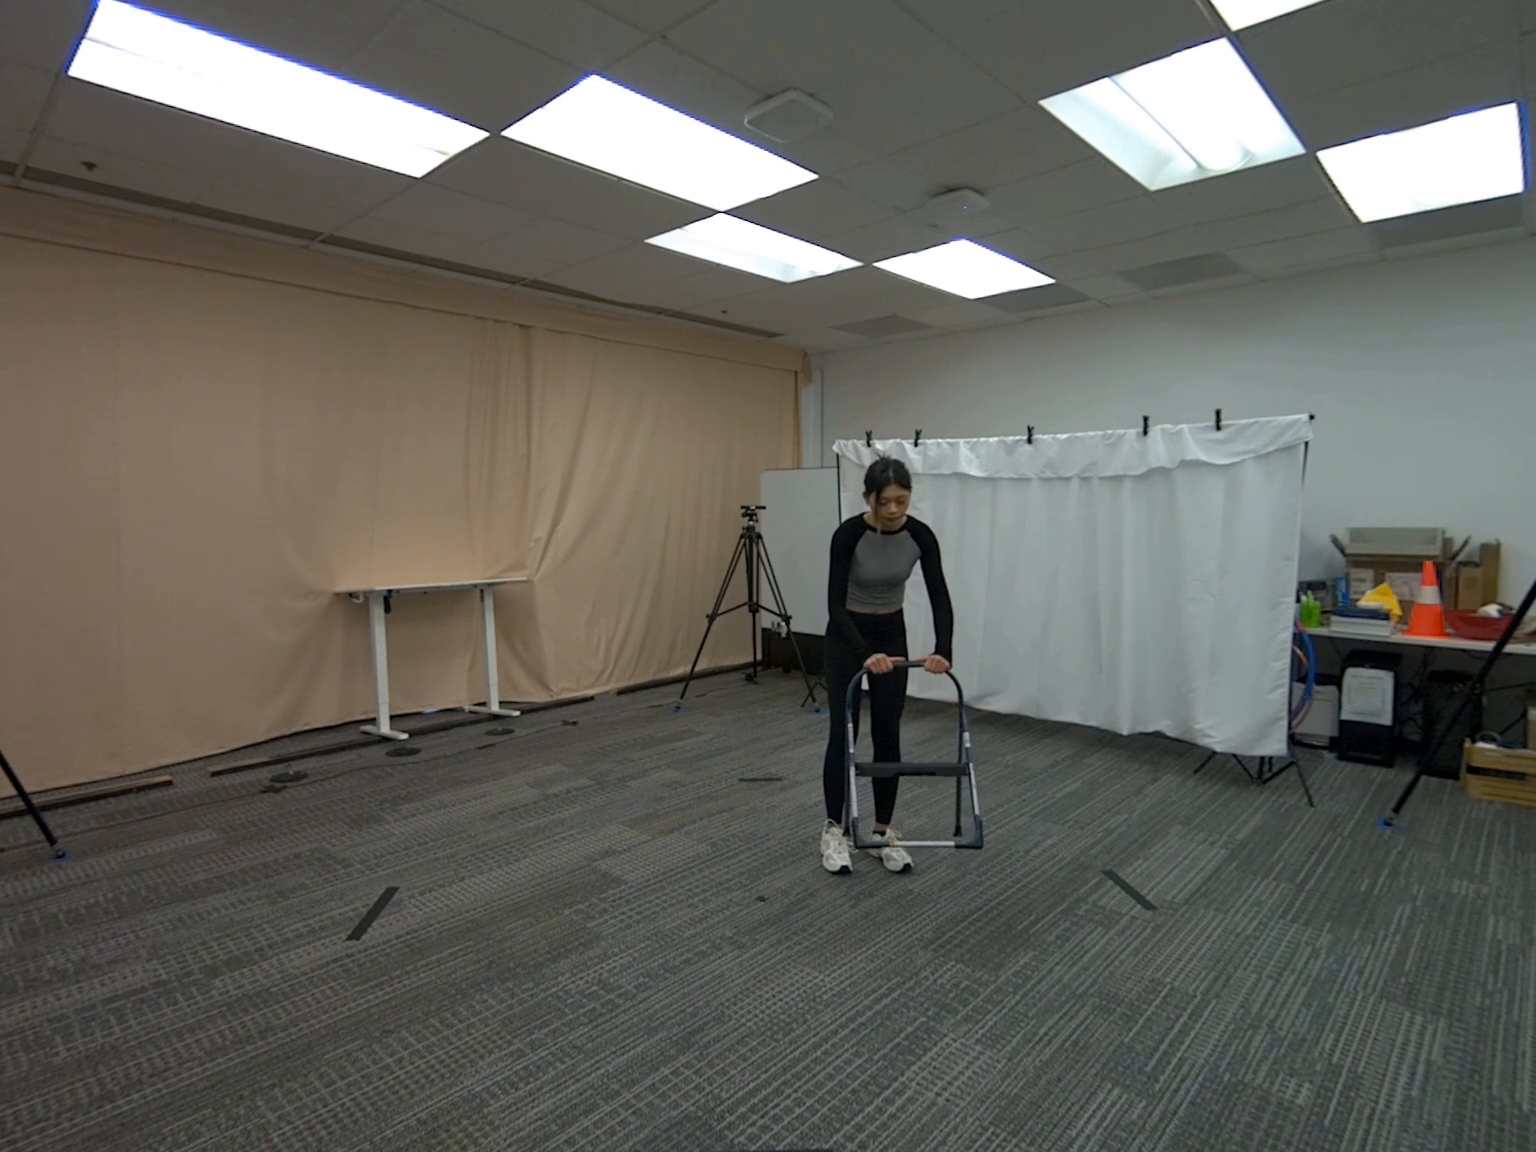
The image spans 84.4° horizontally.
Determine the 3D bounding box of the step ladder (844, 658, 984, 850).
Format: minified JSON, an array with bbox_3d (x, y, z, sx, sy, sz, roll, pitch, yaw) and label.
[{"bbox_3d":[0.490,0.613,2.931,0.431,0.610,0.346,-1,-10,1],"label":"step ladder"}]
